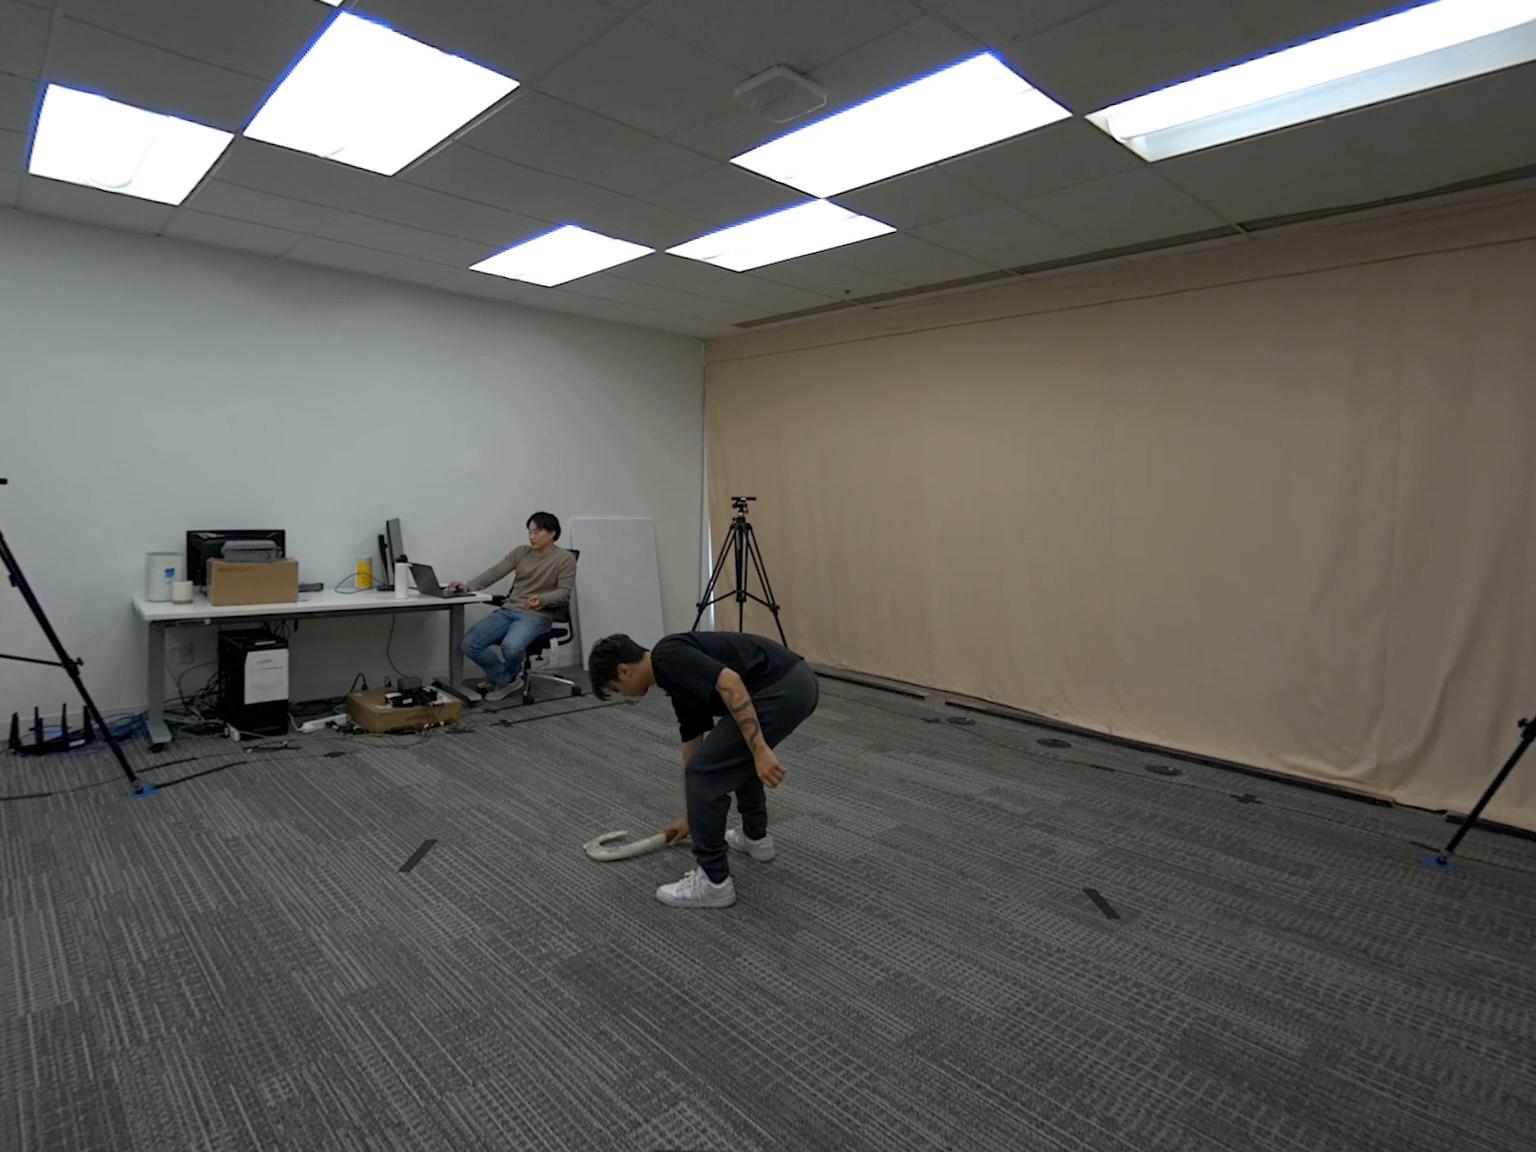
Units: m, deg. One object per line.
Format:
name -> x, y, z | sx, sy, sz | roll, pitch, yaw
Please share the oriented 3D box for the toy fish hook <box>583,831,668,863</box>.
toy fish hook -> -0.491, 1.032, 3.358 | 0.498, 0.048, 0.229 | -5, 9, -25
